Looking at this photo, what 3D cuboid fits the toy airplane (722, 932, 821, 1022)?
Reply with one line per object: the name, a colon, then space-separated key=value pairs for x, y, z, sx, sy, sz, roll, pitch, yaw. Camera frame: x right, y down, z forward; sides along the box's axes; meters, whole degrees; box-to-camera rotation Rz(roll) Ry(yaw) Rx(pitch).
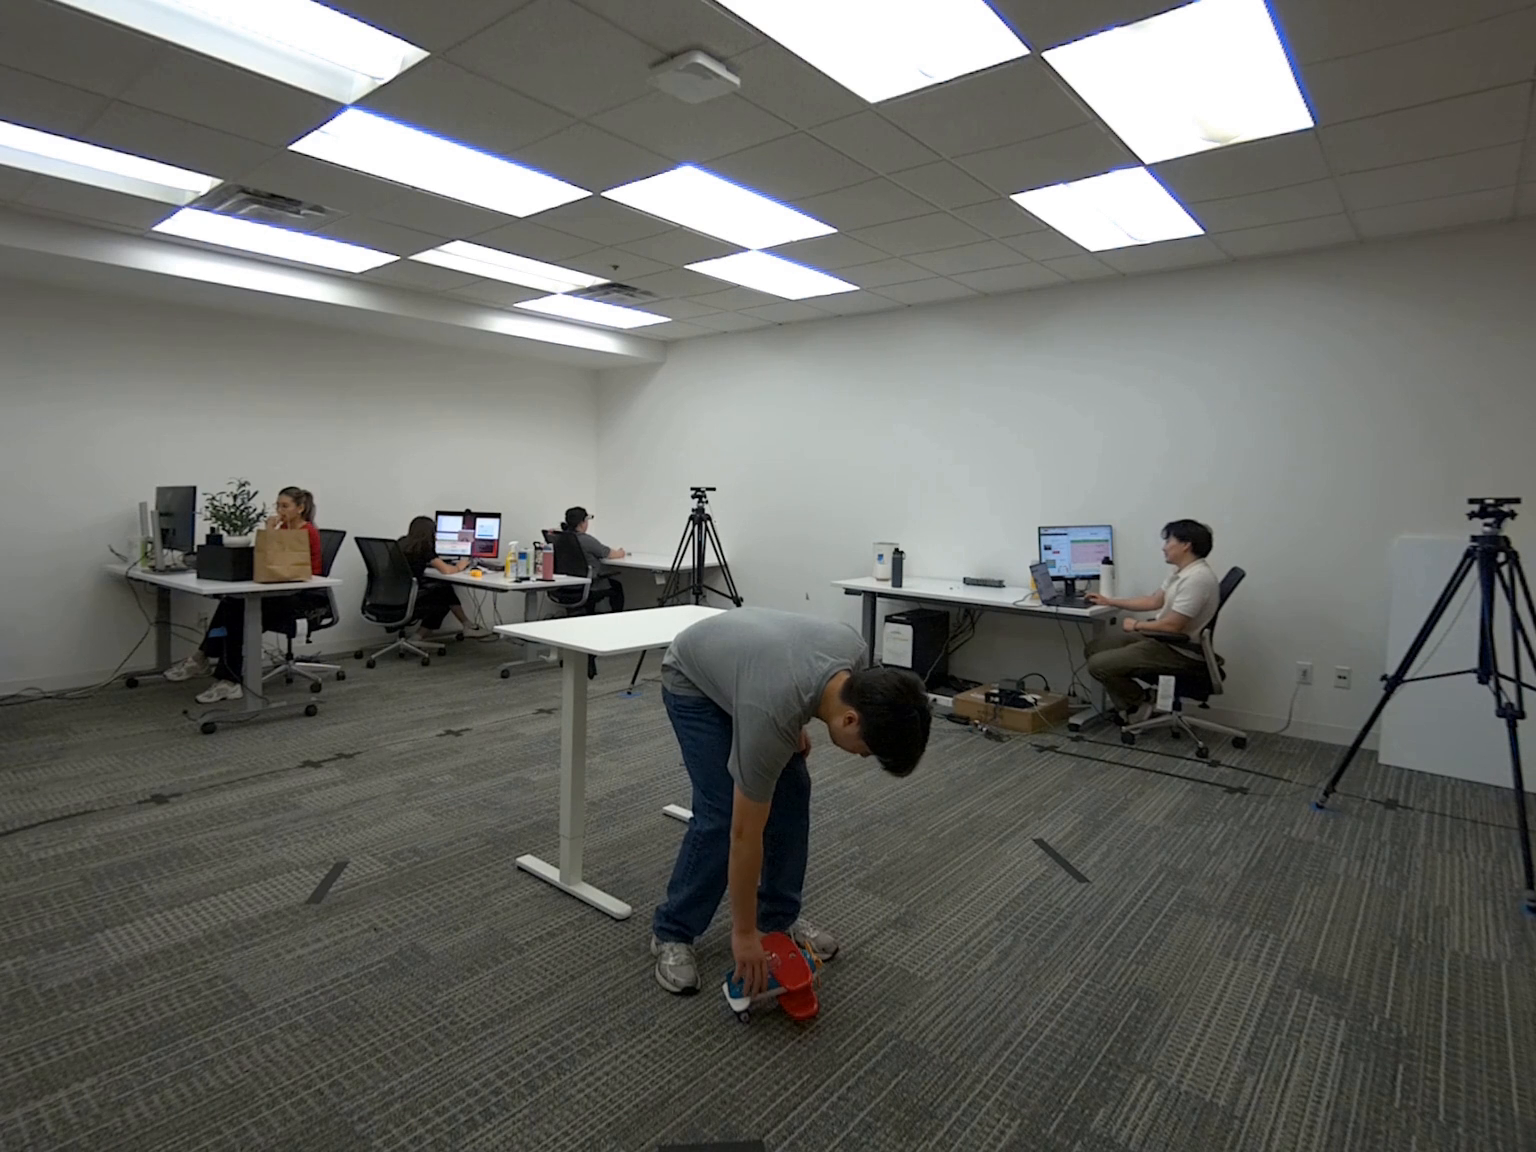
toy airplane: x=0.019 y=1.082 z=2.257 sx=0.260 sy=0.156 sz=0.251 roll=7 pitch=7 yaw=43
